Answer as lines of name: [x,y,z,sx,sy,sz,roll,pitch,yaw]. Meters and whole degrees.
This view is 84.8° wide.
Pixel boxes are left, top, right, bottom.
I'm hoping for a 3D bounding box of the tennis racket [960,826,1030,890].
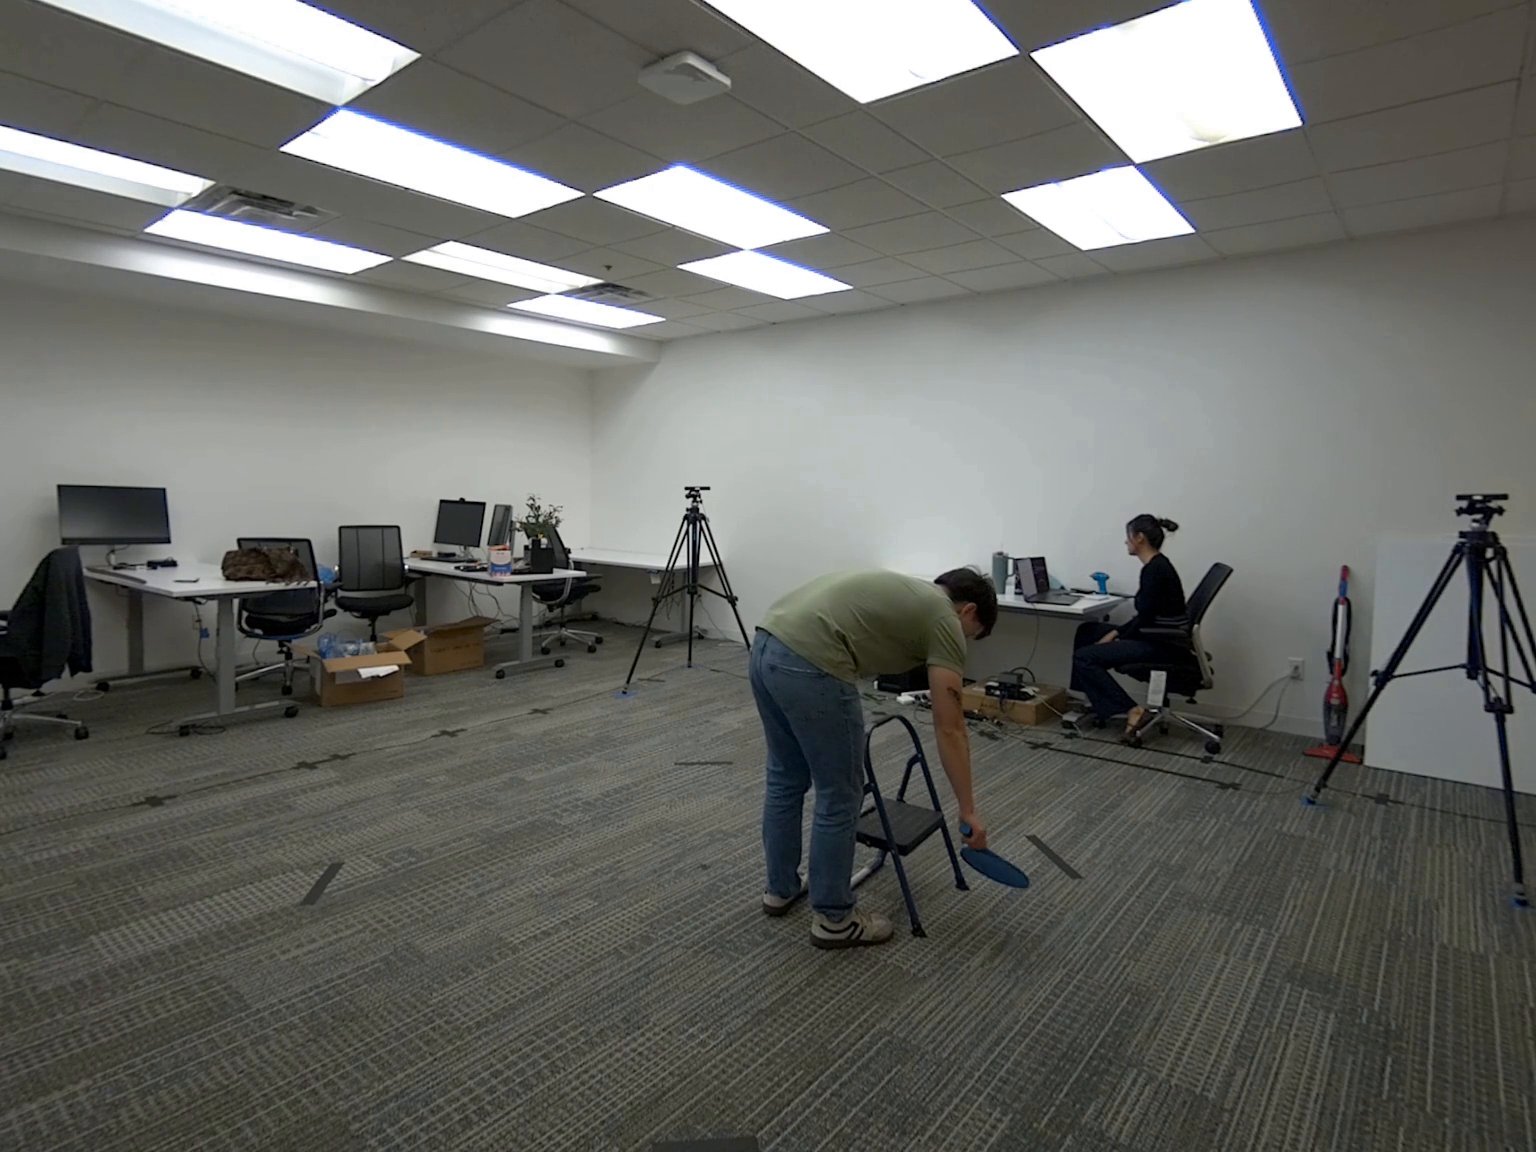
tennis racket: [0.661,0.865,2.625,0.221,0.032,0.415,9,-35,39]
